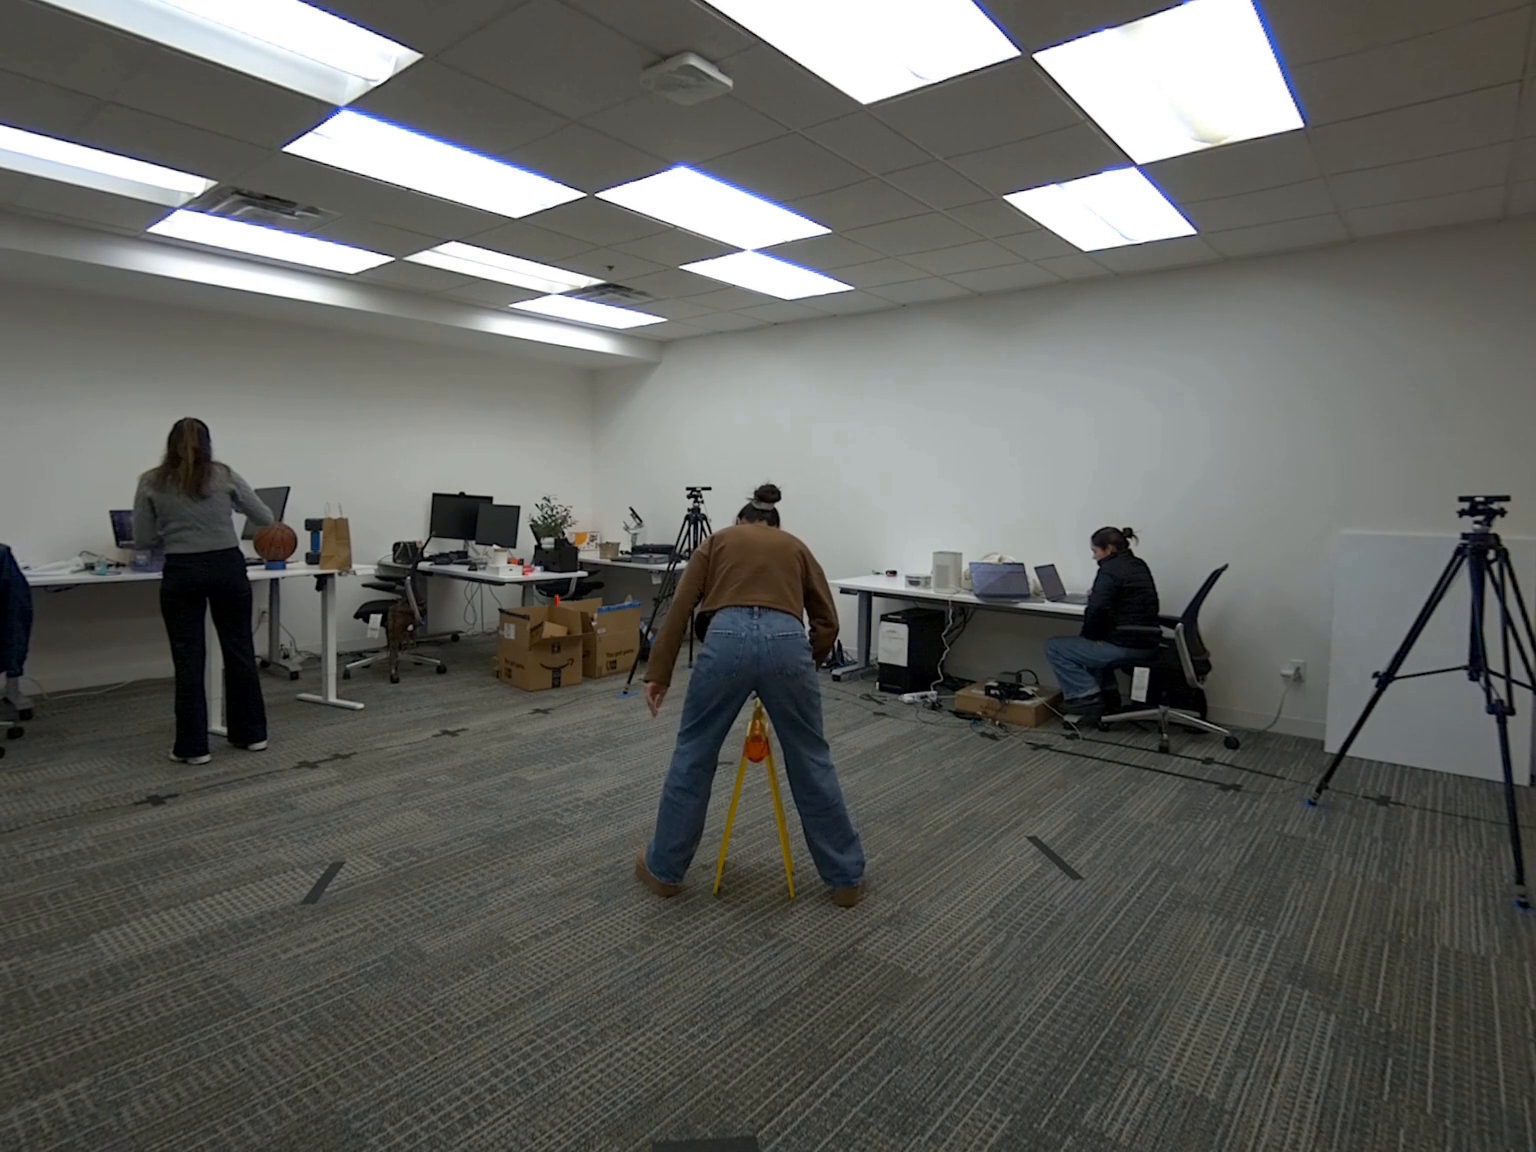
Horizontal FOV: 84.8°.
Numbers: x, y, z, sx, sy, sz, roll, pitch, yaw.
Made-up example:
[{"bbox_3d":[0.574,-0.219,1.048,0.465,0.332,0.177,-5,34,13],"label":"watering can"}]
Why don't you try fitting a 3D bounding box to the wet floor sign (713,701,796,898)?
[{"bbox_3d":[-0.043,0.758,3.023,0.290,0.643,0.283,2,4,1],"label":"wet floor sign"}]
